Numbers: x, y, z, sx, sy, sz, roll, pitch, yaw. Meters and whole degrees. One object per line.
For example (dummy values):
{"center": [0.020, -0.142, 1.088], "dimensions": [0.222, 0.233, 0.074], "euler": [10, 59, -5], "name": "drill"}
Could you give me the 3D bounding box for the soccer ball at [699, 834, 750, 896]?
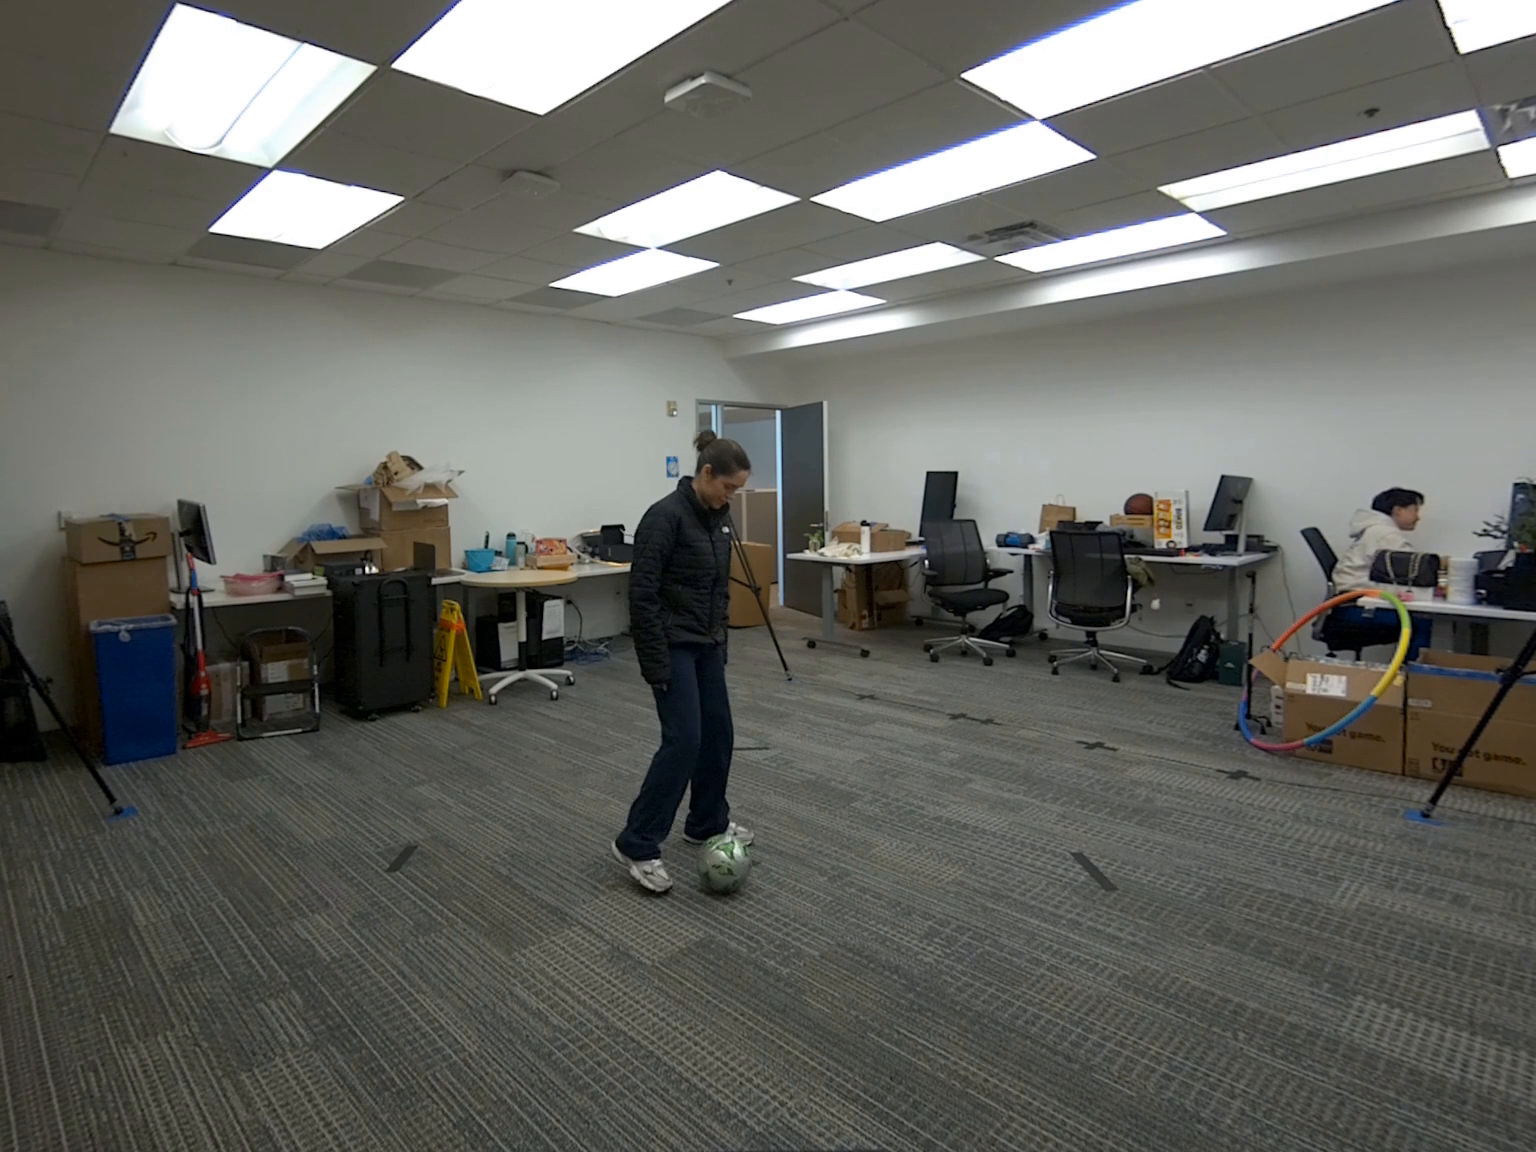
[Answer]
{"center": [-0.143, 0.972, 2.905], "dimensions": [0.187, 0.187, 0.188], "euler": [-1, 5, -2], "name": "soccer ball"}
